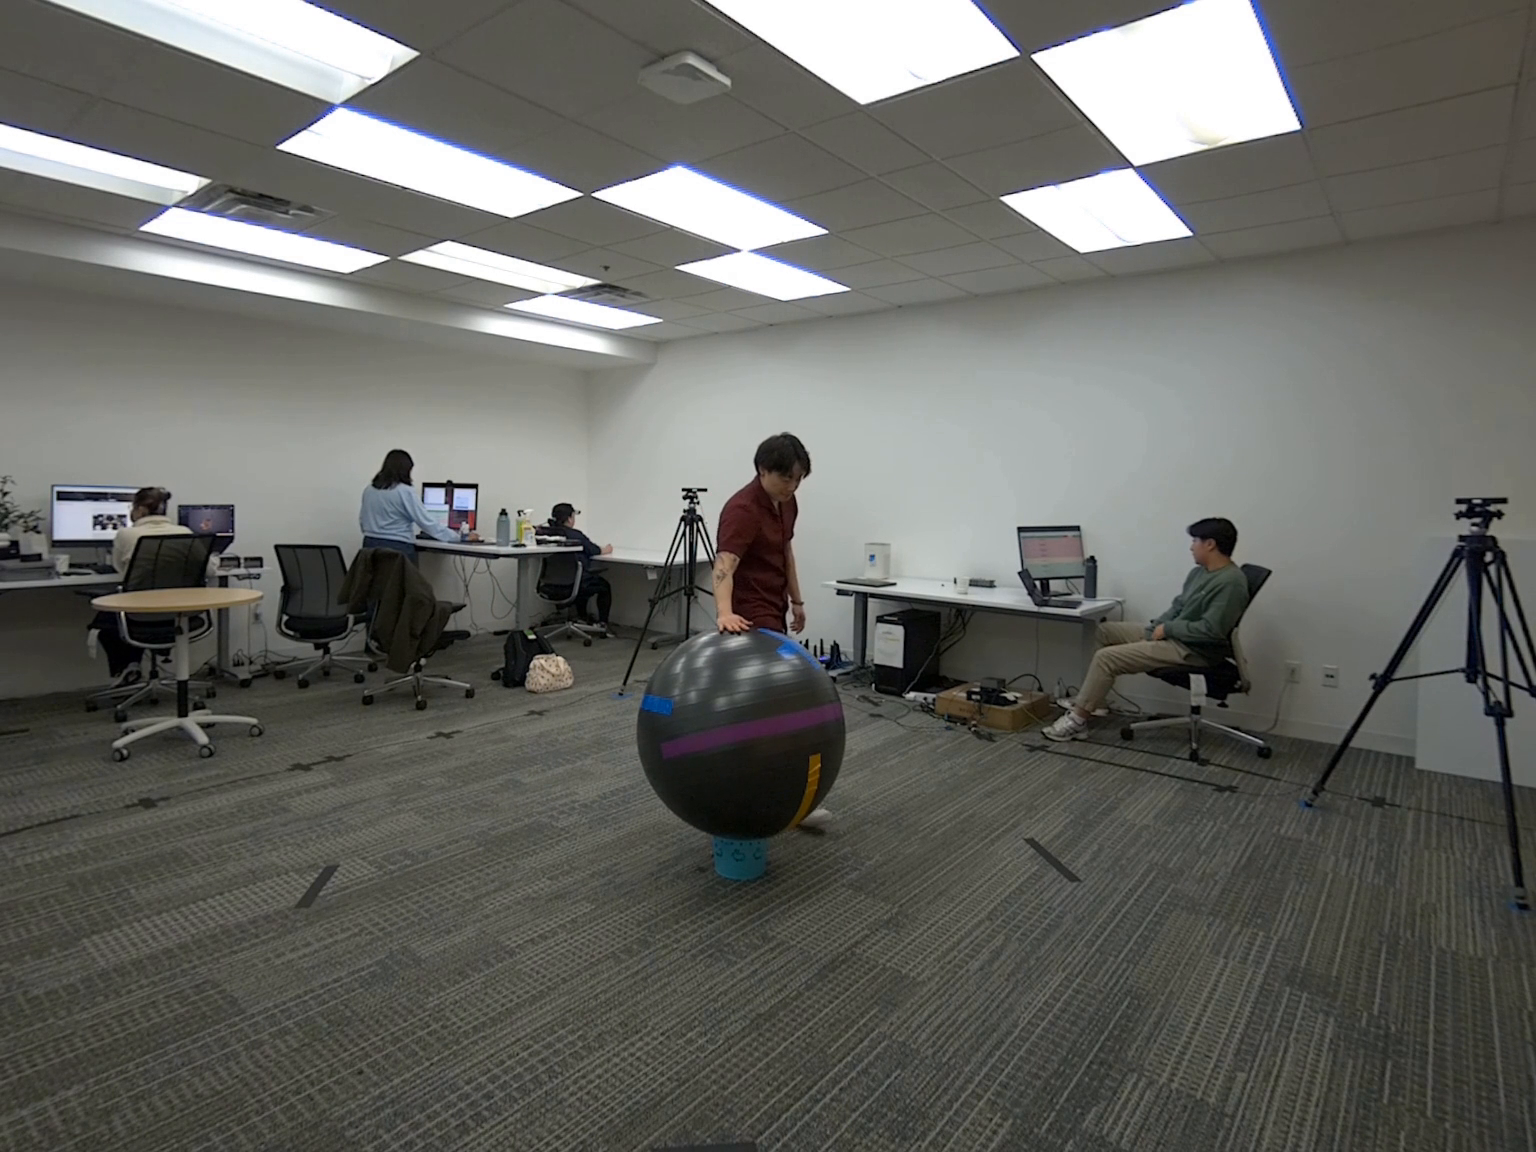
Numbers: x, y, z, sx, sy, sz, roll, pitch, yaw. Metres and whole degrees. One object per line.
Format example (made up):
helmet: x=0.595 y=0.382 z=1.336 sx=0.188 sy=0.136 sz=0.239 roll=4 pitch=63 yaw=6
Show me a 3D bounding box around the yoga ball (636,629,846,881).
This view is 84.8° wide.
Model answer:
yoga ball: x=-0.115 y=0.570 z=3.092 sx=0.757 sy=0.755 sz=0.762 roll=1 pitch=4 yaw=-2
